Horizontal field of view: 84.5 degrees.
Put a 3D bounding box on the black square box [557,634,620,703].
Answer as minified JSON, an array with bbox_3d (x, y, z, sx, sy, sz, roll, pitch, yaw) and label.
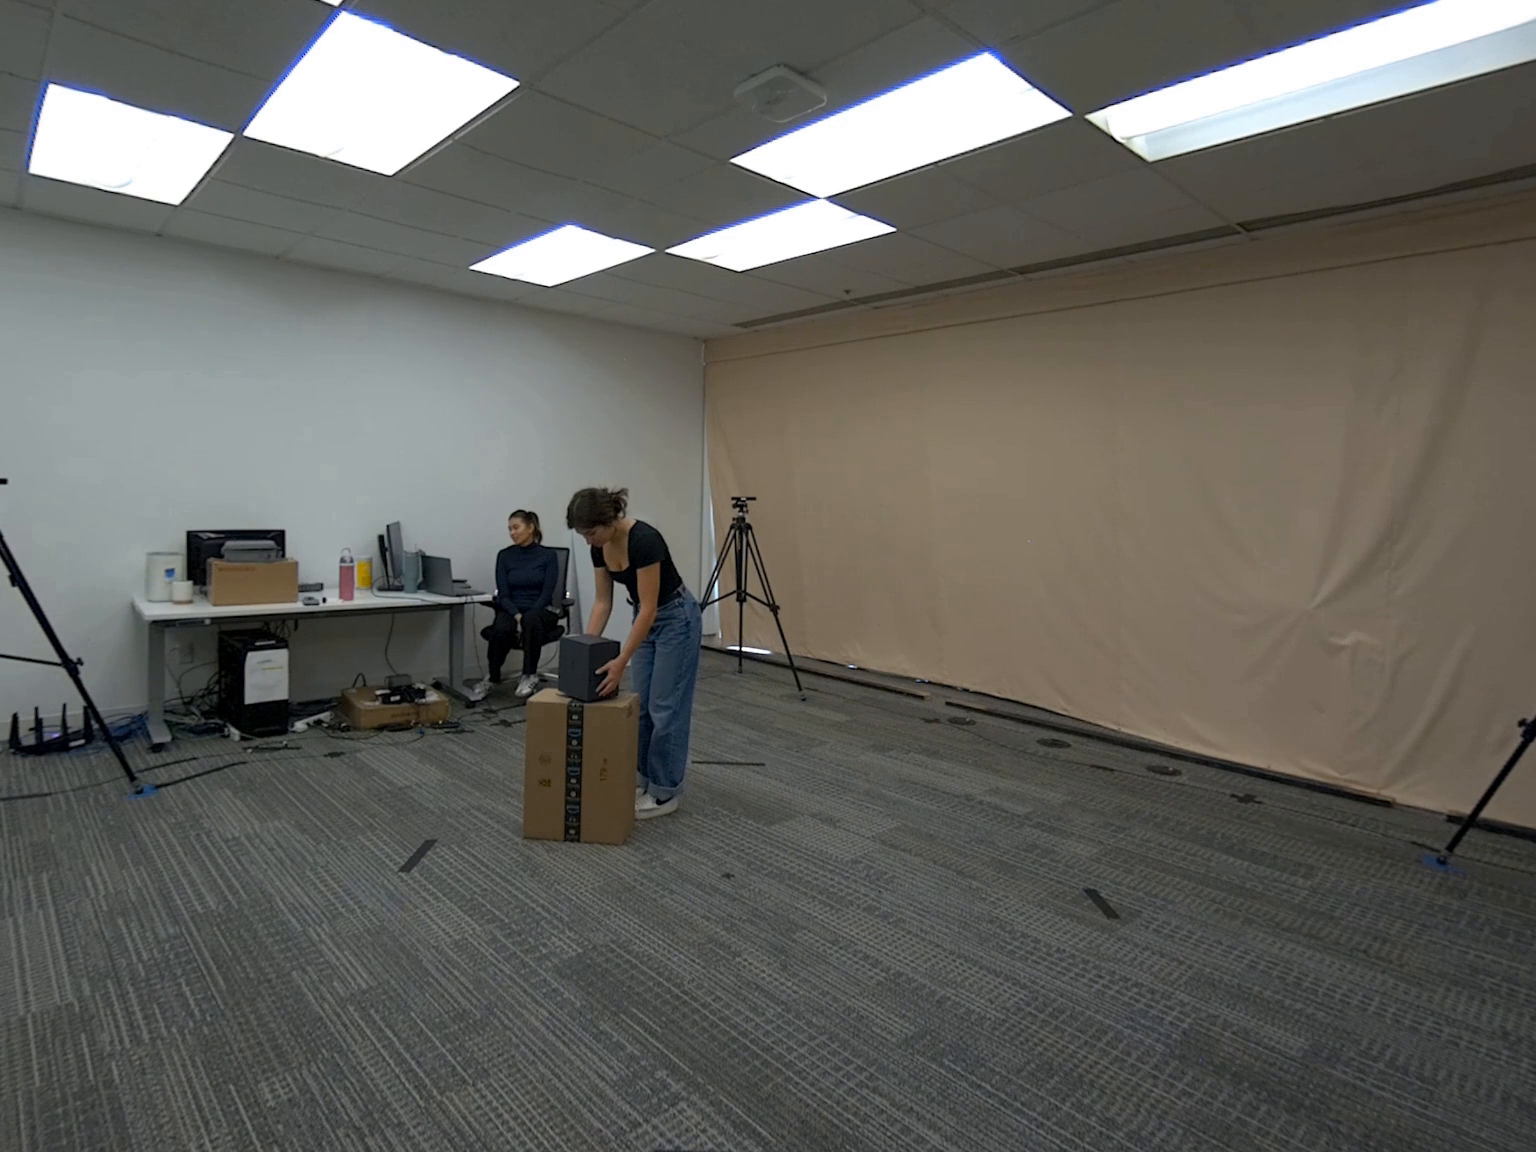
[{"bbox_3d":[-0.744,0.364,3.457,0.223,0.227,0.152,7,6,44],"label":"black square box"}]
